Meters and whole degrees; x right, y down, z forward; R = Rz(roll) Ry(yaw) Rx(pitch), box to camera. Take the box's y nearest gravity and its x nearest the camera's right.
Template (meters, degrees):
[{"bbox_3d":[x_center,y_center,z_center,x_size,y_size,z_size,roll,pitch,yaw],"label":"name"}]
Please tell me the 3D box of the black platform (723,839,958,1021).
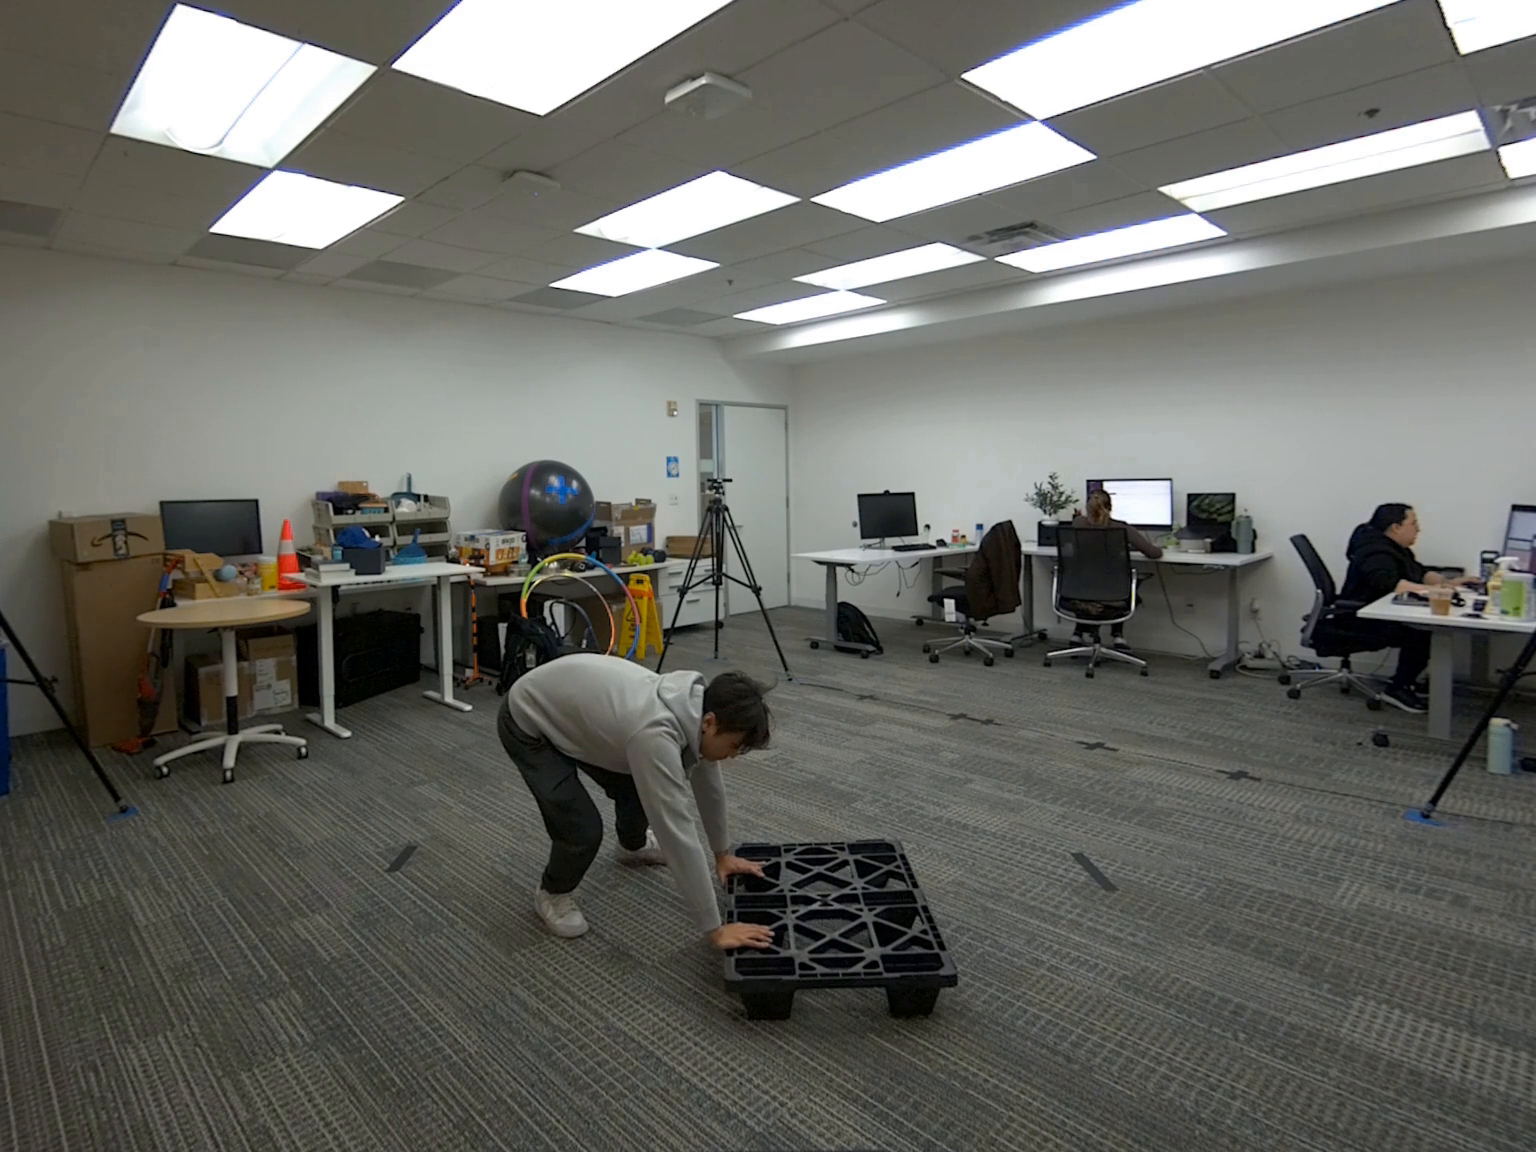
[{"bbox_3d":[0.178,1.031,2.566,0.605,0.142,0.810,-2,7,-1],"label":"black platform"}]
